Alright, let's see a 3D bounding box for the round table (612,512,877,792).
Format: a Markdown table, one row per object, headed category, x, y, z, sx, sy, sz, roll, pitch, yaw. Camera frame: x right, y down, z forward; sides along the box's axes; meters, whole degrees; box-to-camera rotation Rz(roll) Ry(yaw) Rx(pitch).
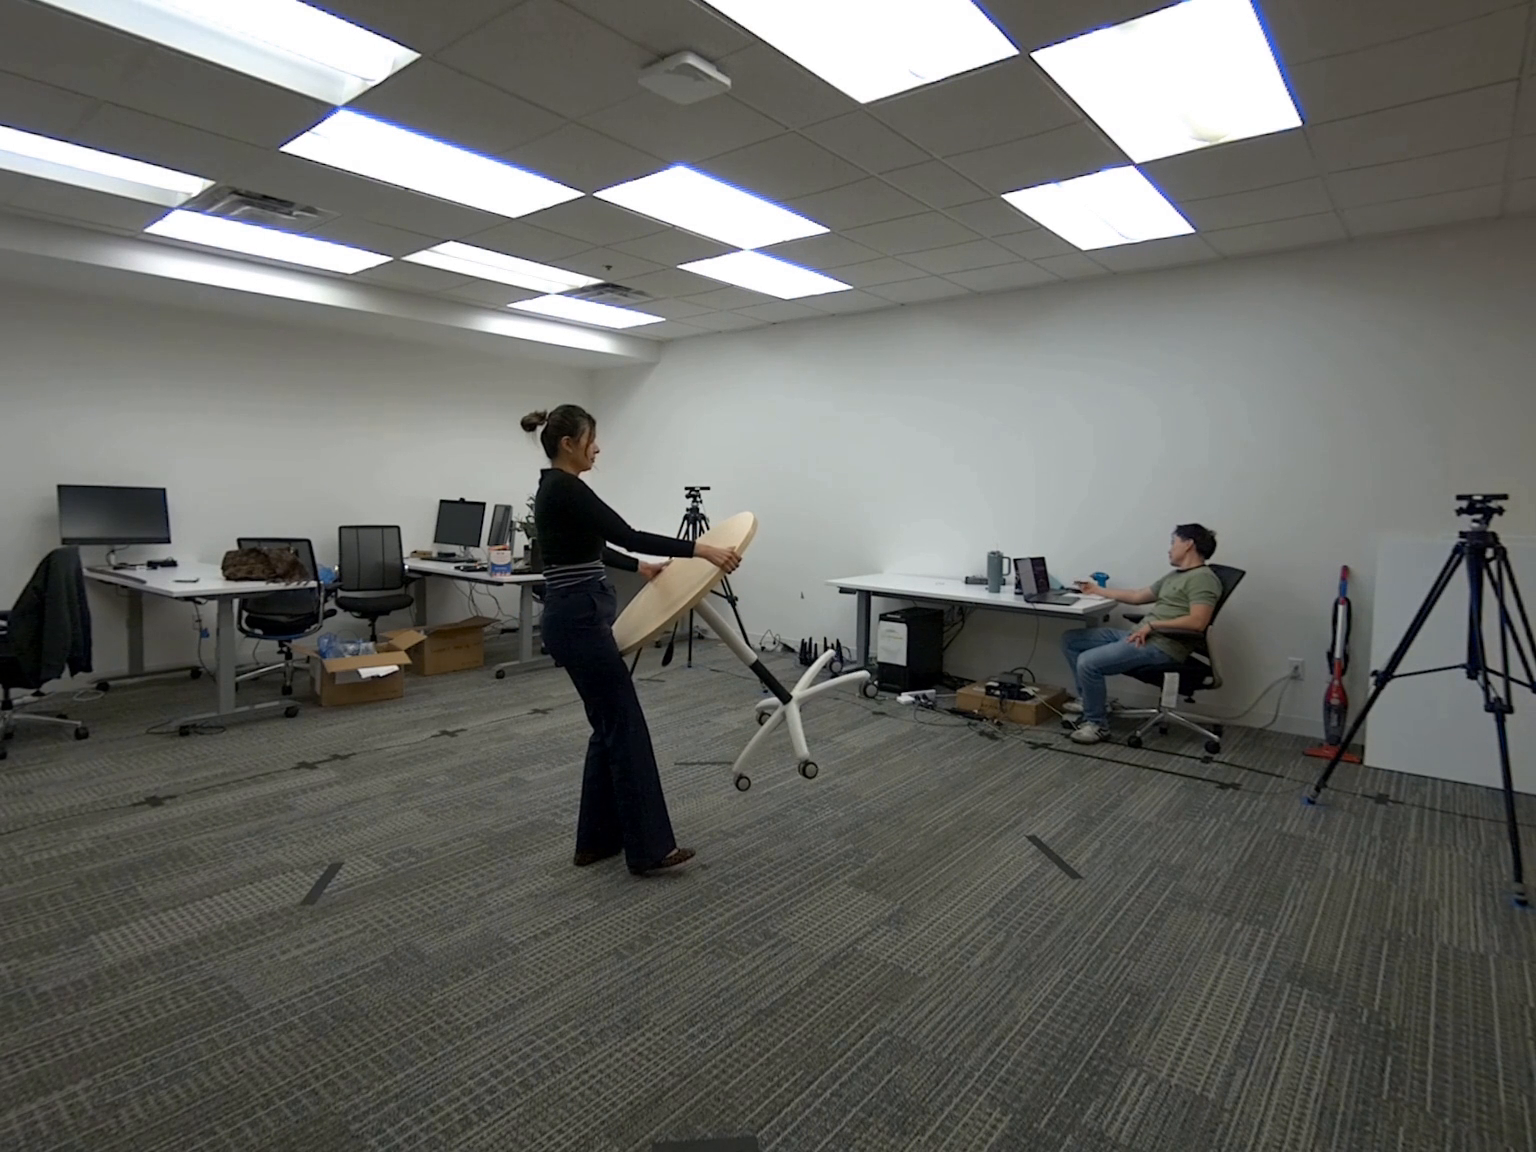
| category | x | y | z | sx | sy | sz | roll | pitch | yaw |
| --- | --- | --- | --- | --- | --- | --- | --- | --- | --- |
| round table | -0.095 | 0.306 | 3.308 | 0.765 | 0.780 | 0.776 | -39 | 14 | 9 |
